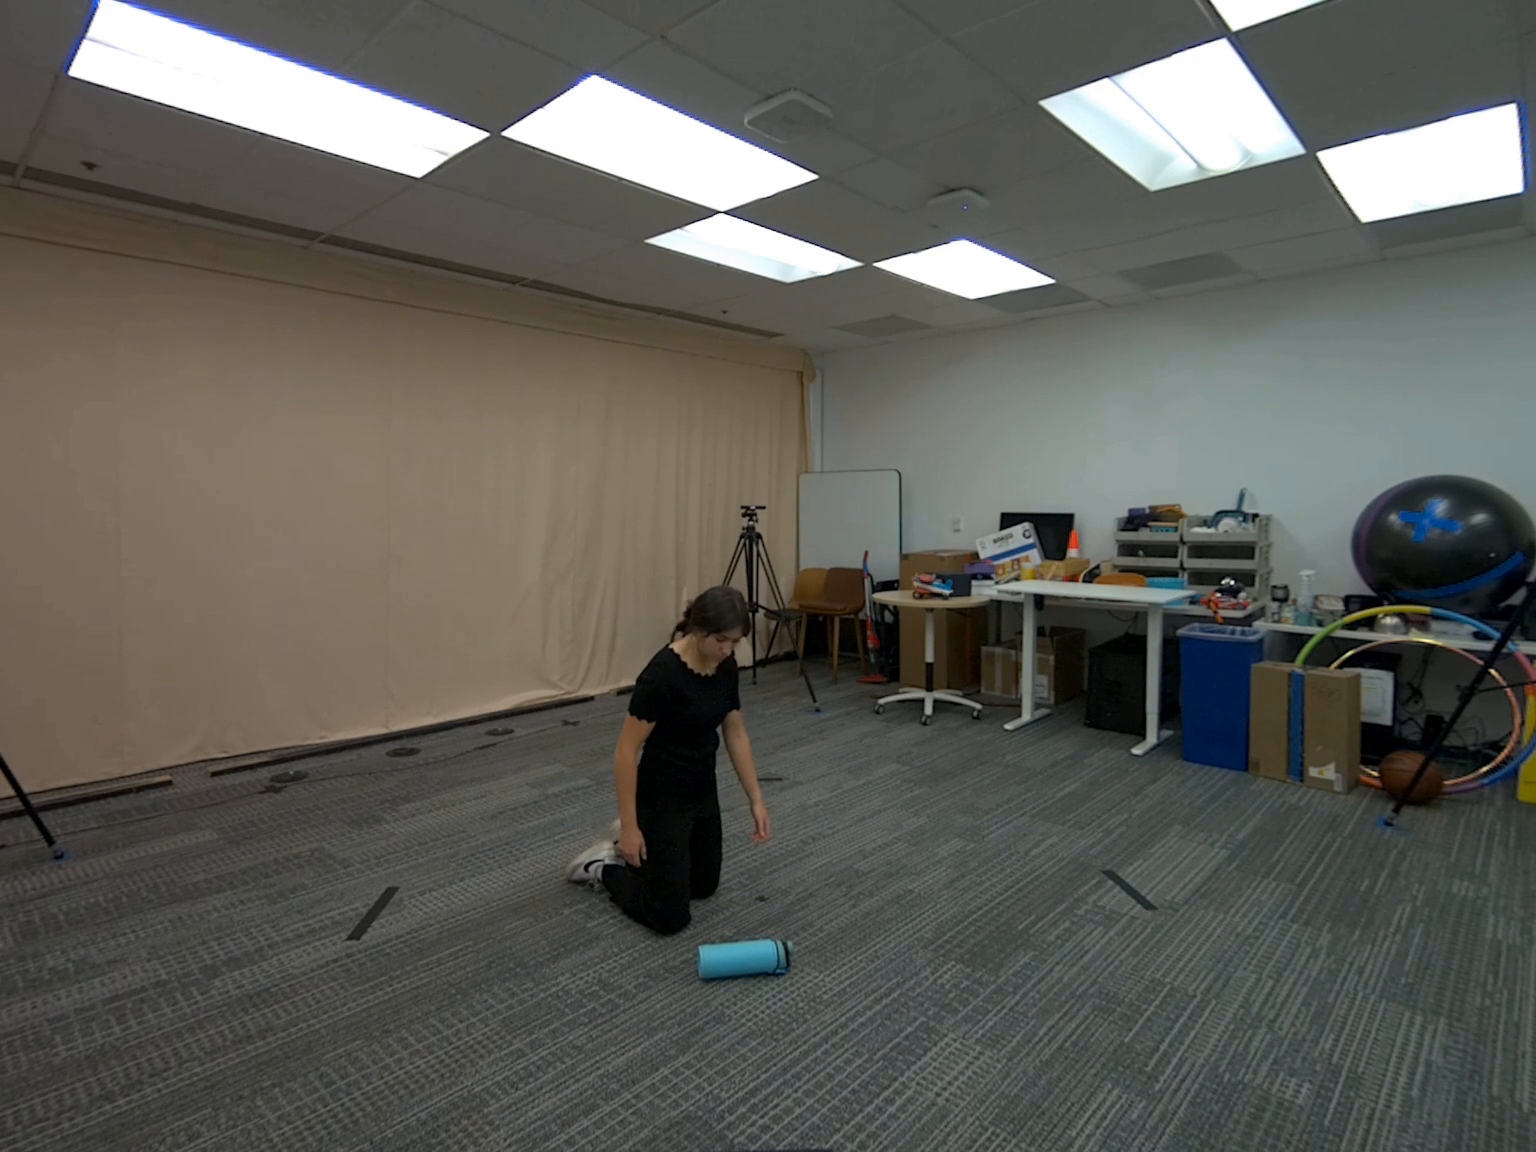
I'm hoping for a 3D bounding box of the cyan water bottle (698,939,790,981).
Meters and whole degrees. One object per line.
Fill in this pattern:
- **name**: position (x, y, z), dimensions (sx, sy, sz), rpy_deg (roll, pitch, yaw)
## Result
- **cyan water bottle**: position (-0.060, 1.141, 2.499), dimensions (0.281, 0.092, 0.093), rpy_deg (-2, 4, -7)
